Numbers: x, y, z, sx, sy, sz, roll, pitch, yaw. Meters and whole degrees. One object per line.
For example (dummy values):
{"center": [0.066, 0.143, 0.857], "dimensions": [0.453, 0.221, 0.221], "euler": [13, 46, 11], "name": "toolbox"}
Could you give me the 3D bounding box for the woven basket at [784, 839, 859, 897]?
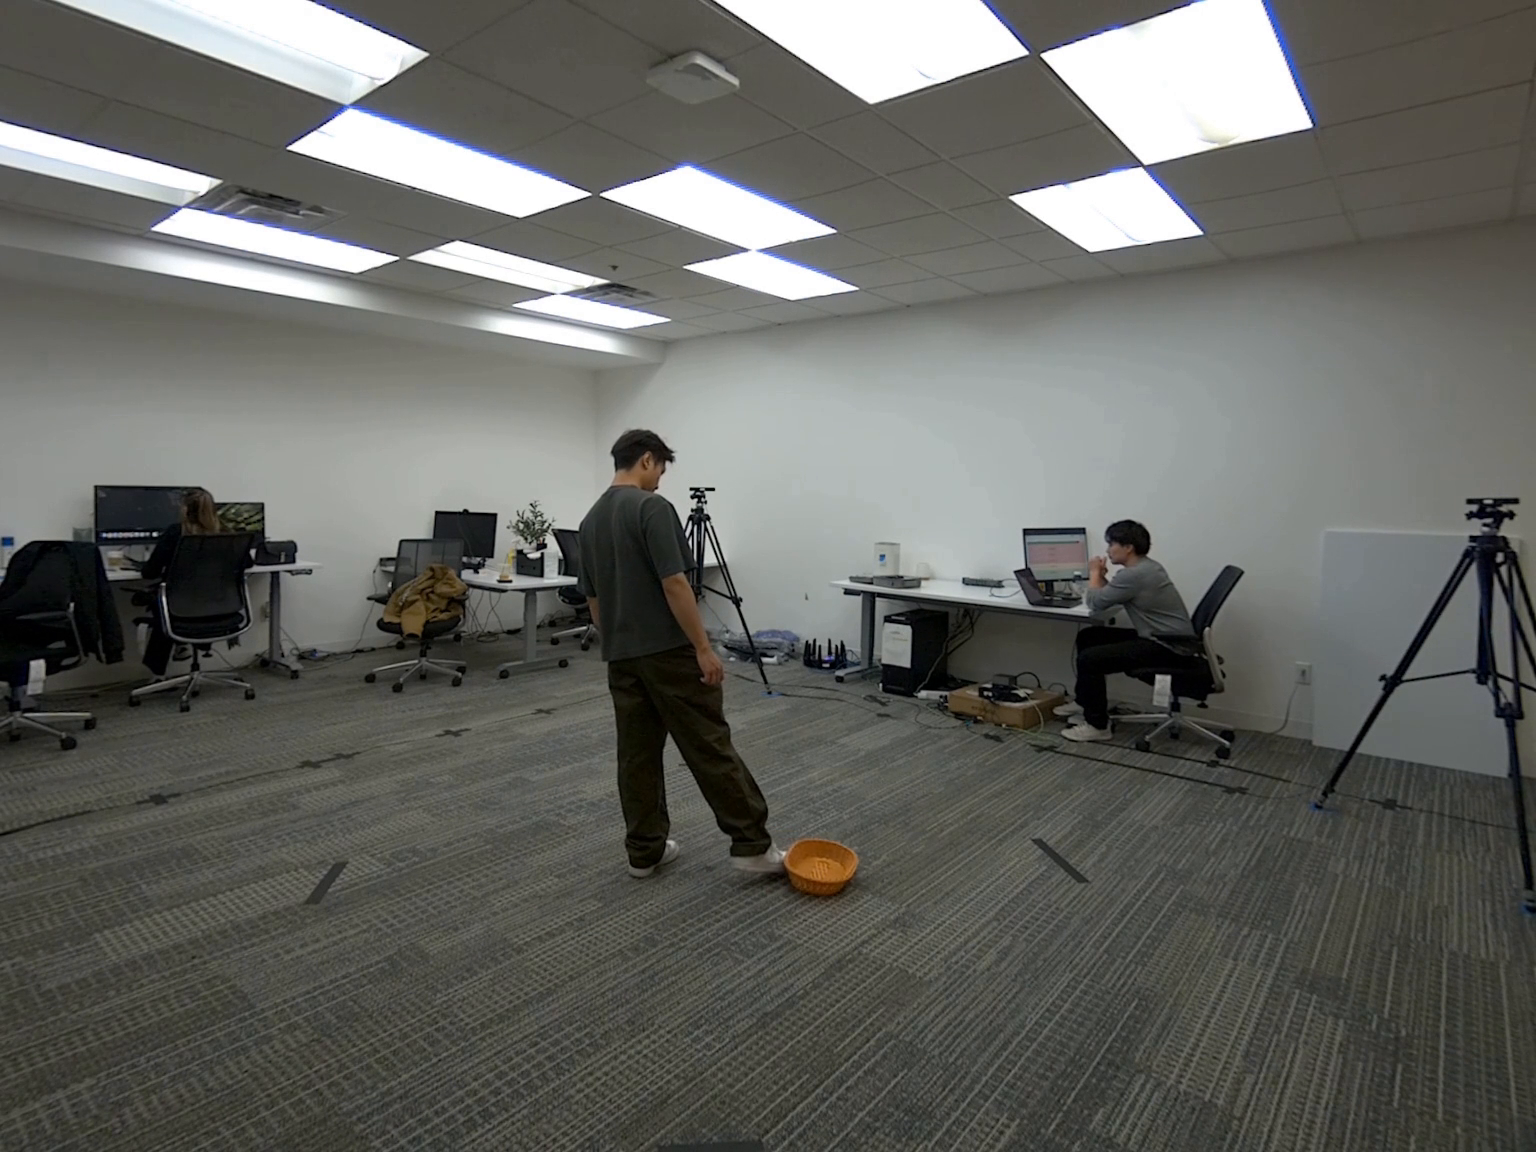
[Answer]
{"center": [0.177, 1.039, 3.035], "dimensions": [0.259, 0.073, 0.343], "euler": [8, 7, 21], "name": "woven basket"}
